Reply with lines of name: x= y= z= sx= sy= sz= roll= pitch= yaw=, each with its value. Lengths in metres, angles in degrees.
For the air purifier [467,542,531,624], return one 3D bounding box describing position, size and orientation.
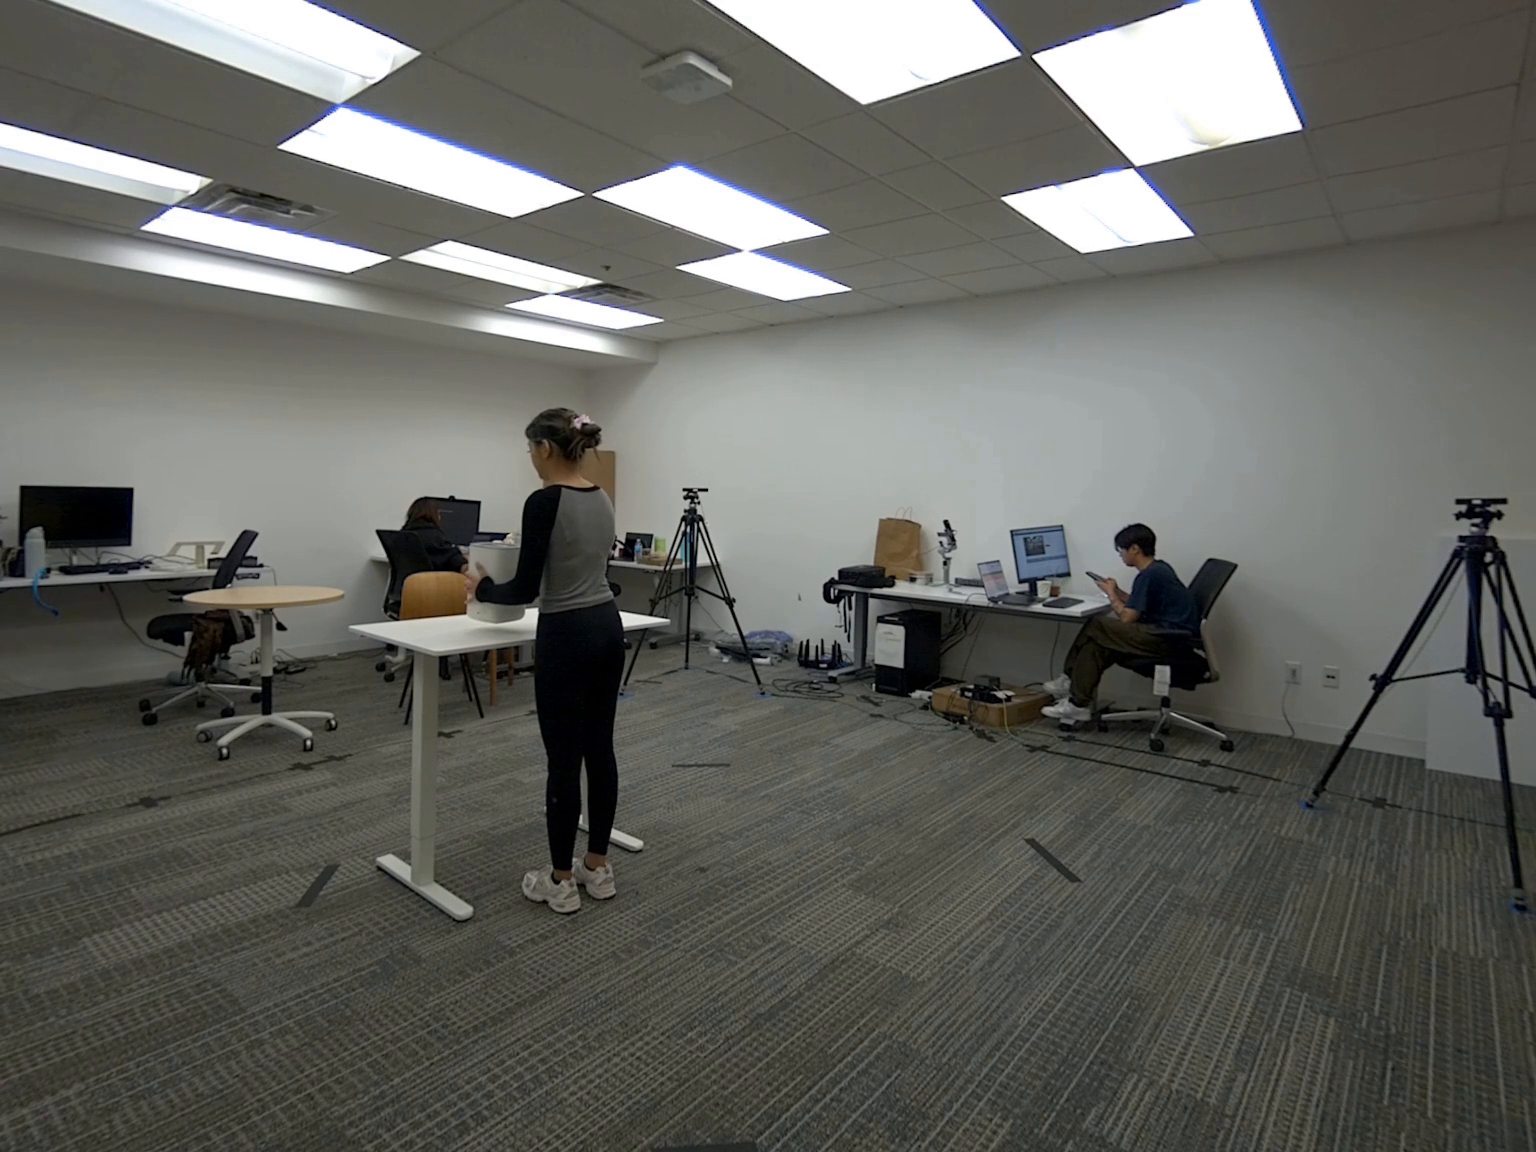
air purifier: x=-0.958 y=0.023 z=2.983 sx=0.176 sy=0.264 sz=0.167 roll=6 pitch=5 yaw=26
